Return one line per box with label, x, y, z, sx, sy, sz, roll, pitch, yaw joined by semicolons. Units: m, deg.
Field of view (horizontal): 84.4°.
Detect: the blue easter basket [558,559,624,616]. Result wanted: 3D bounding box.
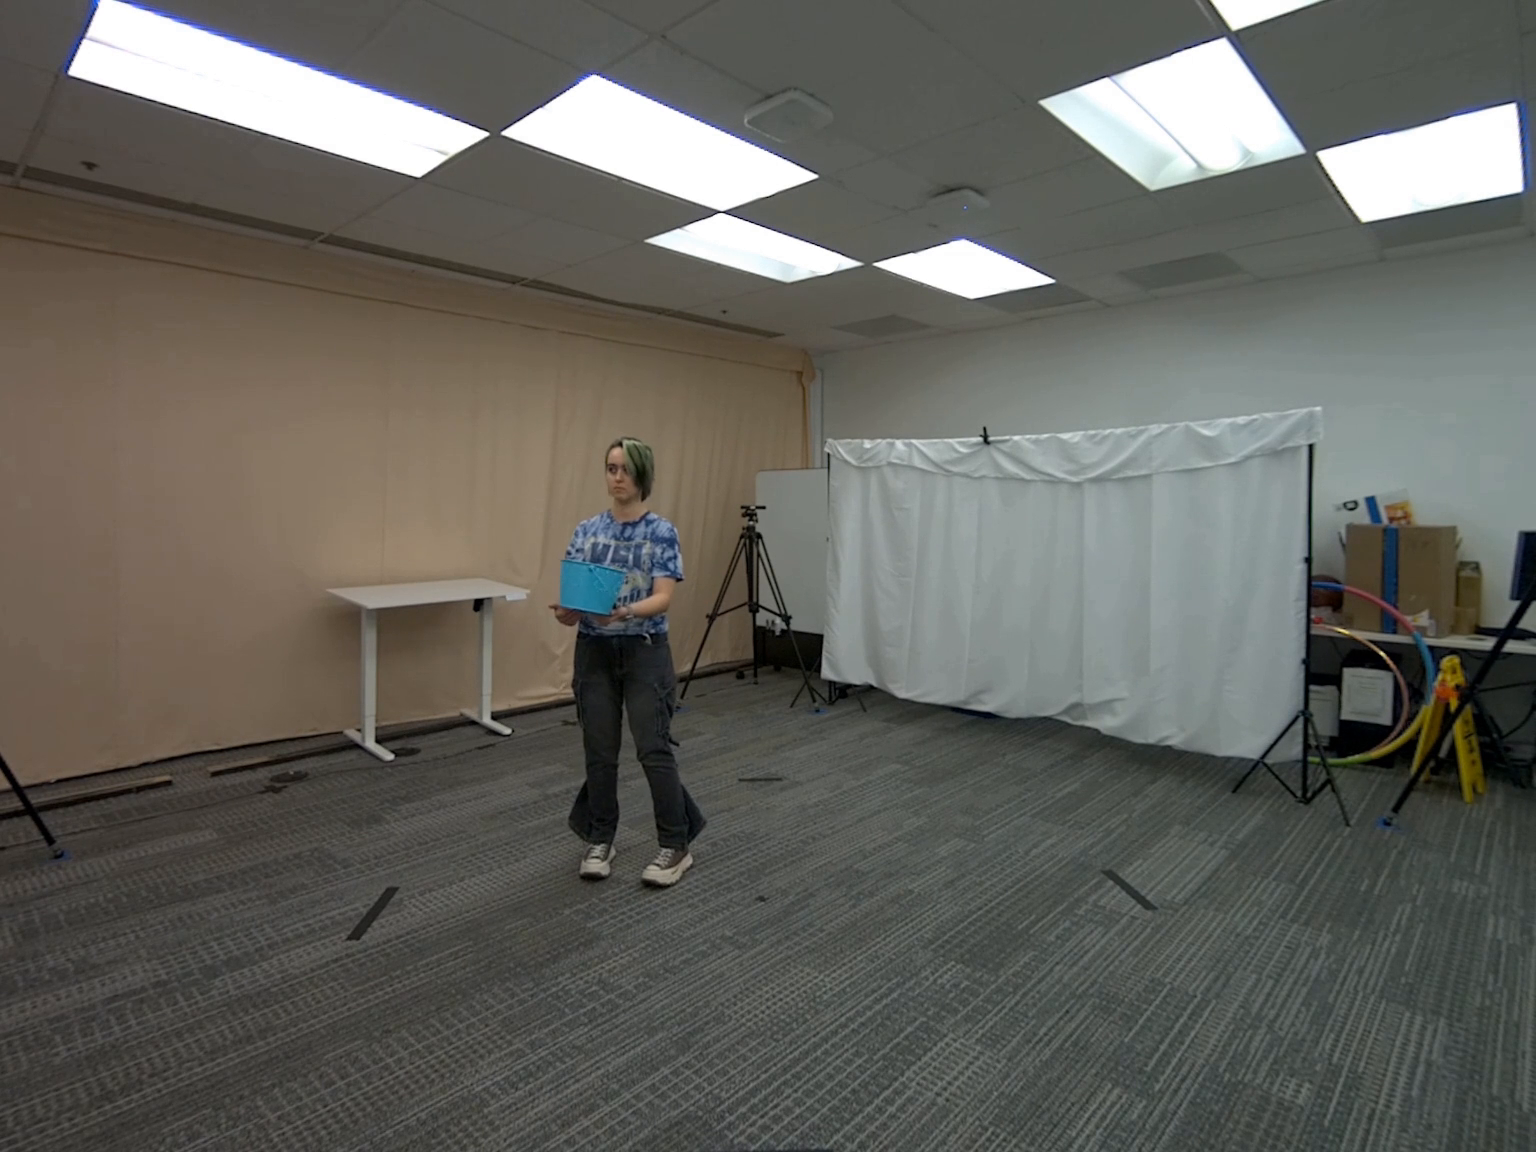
blue easter basket;-0.584;0.041;2.843;0.243;0.156;0.243;9;-2;-1
